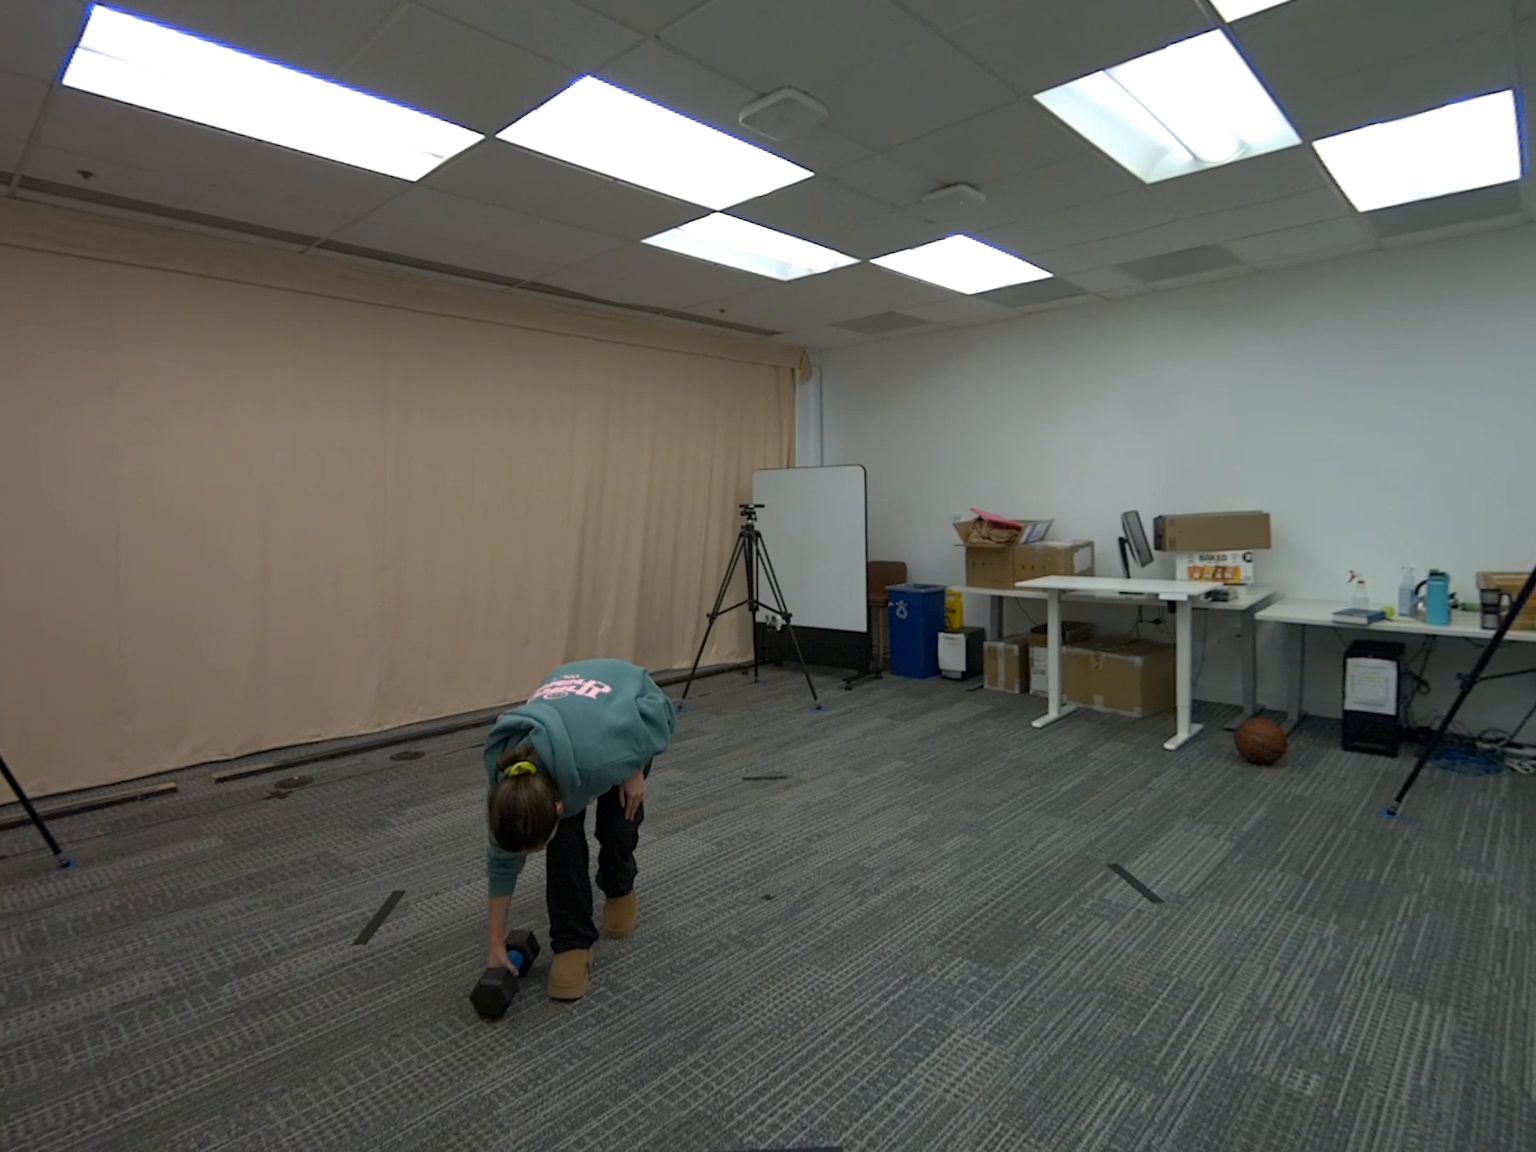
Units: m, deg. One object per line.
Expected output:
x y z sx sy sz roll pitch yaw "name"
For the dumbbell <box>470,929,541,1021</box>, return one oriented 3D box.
-0.747 1.132 2.418 0.109 0.123 0.293 -28 3 3 "dumbbell"
